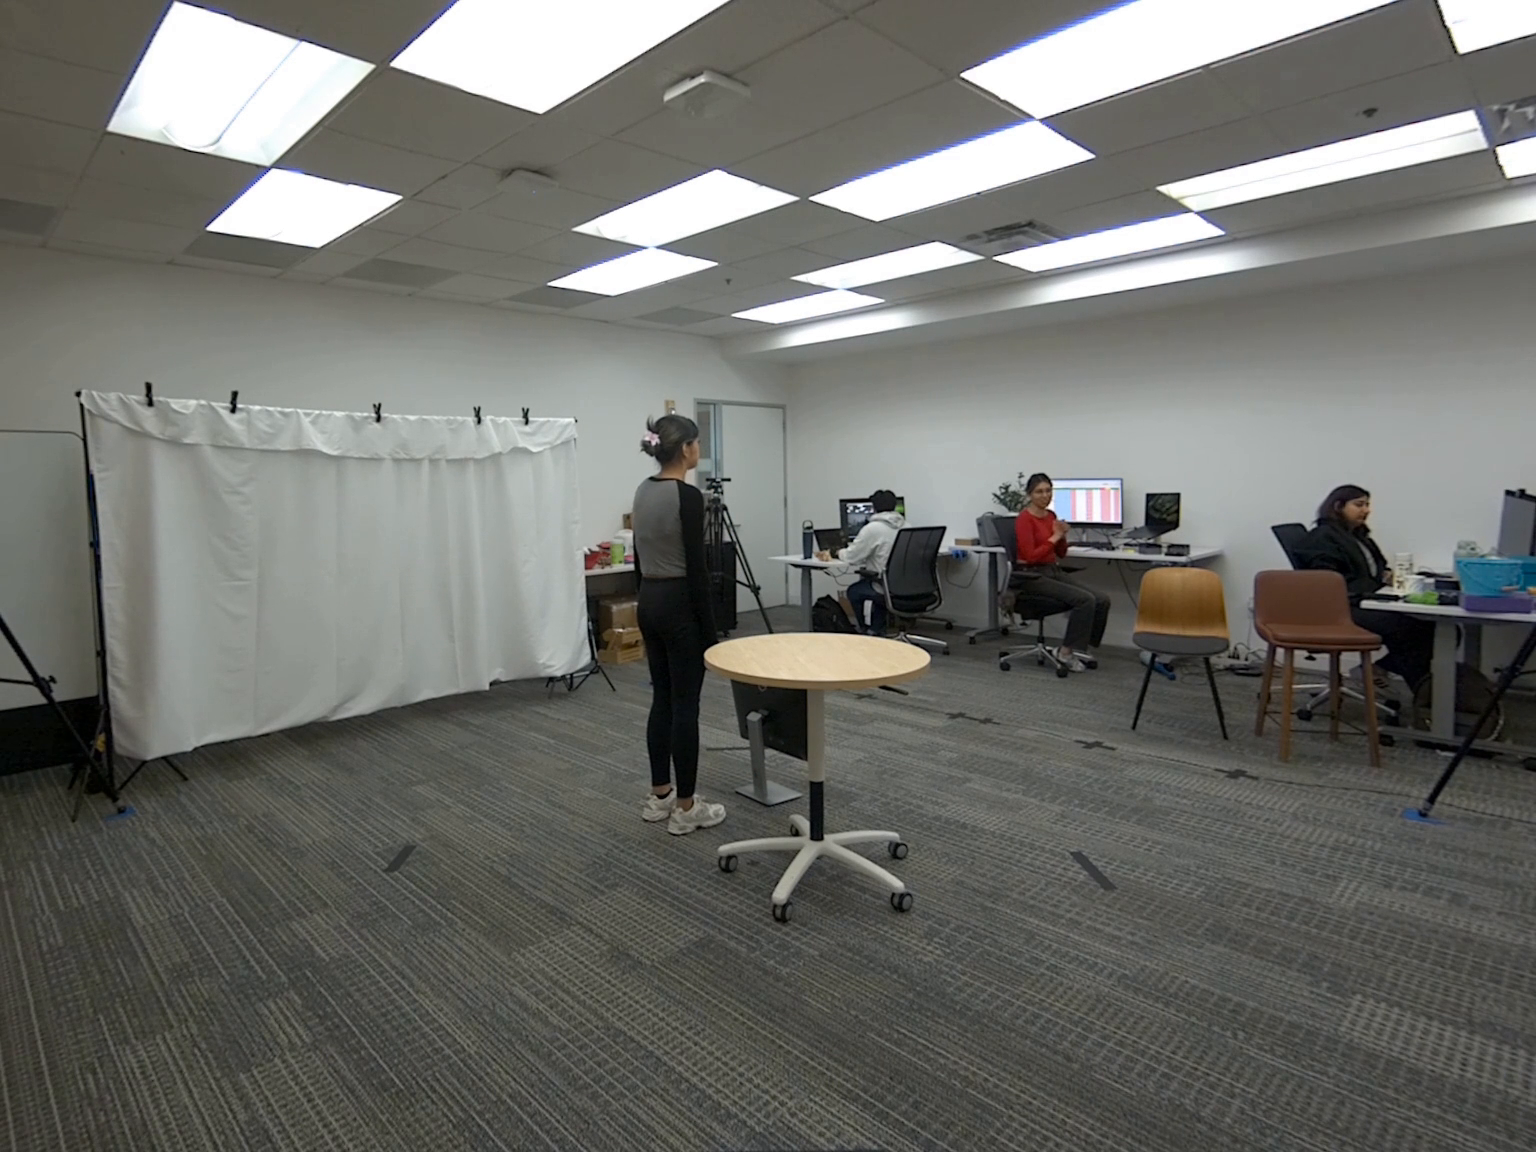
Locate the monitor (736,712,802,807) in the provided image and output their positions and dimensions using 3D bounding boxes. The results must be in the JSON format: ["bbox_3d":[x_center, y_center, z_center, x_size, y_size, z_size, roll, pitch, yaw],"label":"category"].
[{"bbox_3d":[0.001,0.704,3.772,0.182,0.521,0.555,-1,3,-40],"label":"monitor"}]
